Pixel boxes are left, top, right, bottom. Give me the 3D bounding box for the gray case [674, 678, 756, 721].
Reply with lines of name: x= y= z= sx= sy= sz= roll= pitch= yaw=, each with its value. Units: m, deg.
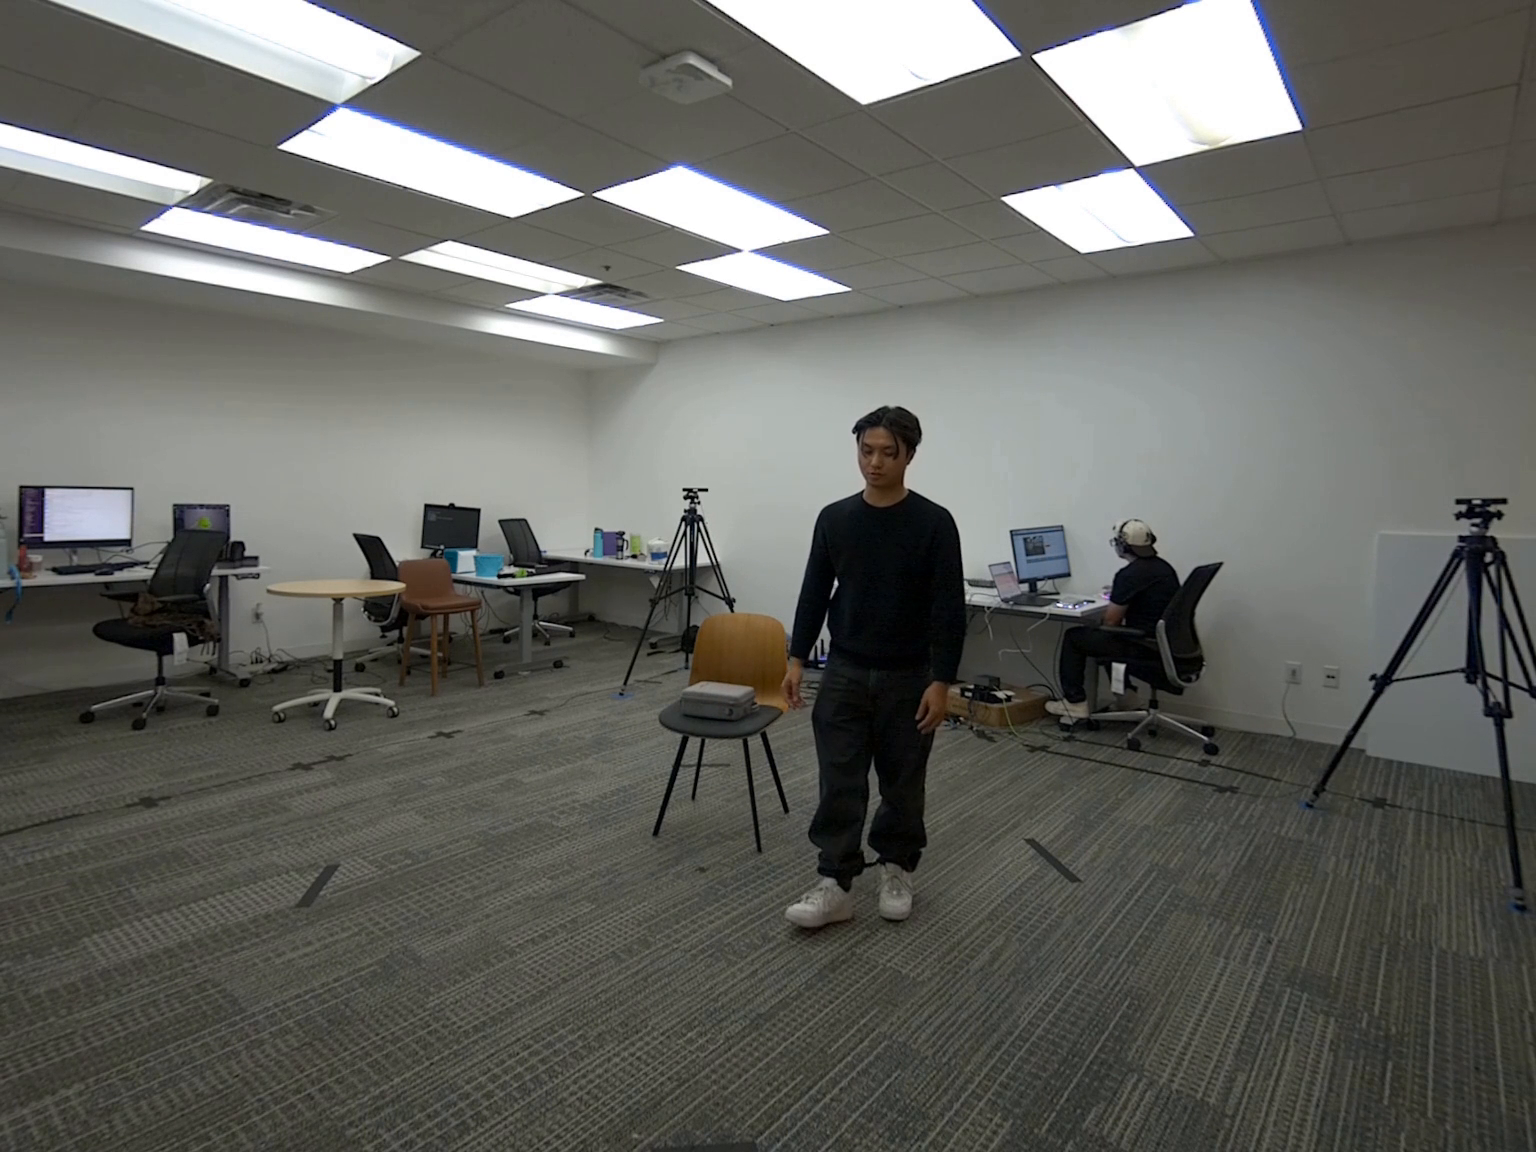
gray case: x=-0.215 y=0.501 z=3.454 sx=0.266 sy=0.104 sz=0.252 roll=4 pitch=2 yaw=16
